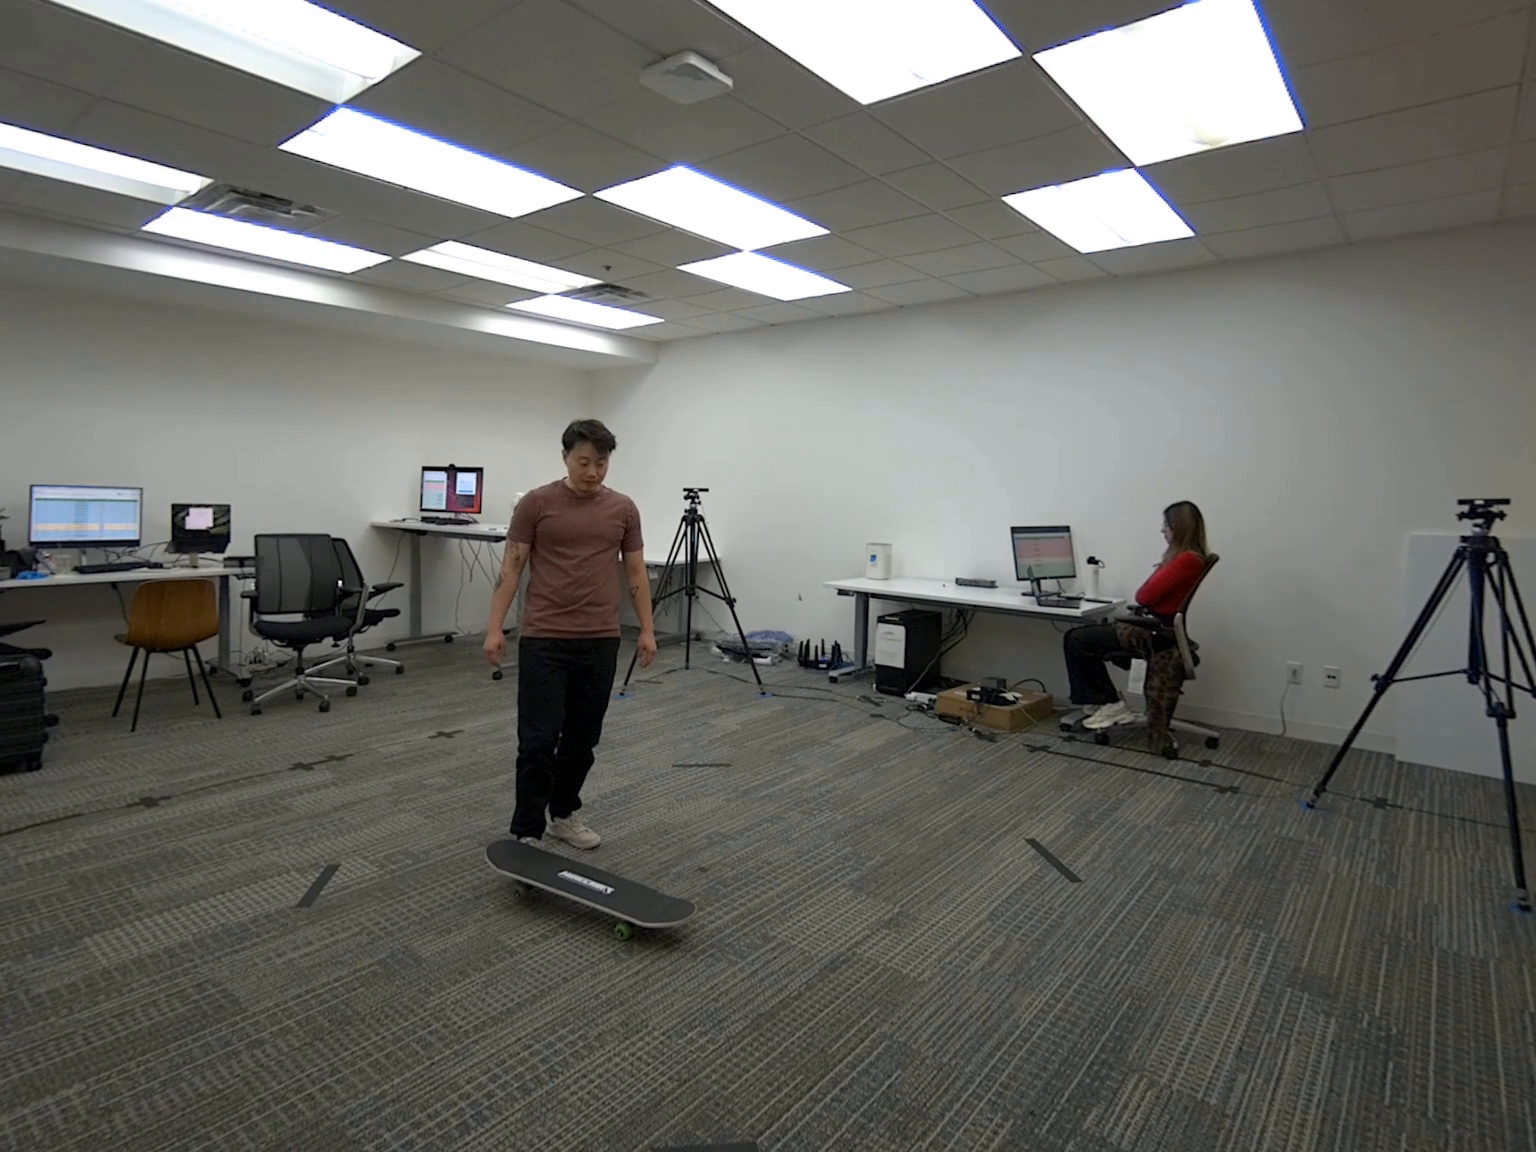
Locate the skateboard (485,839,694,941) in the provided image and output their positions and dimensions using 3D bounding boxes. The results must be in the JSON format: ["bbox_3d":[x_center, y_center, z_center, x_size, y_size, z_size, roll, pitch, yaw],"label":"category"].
[{"bbox_3d":[-0.612,1.025,2.760,0.807,0.110,0.189,8,7,25],"label":"skateboard"}]
